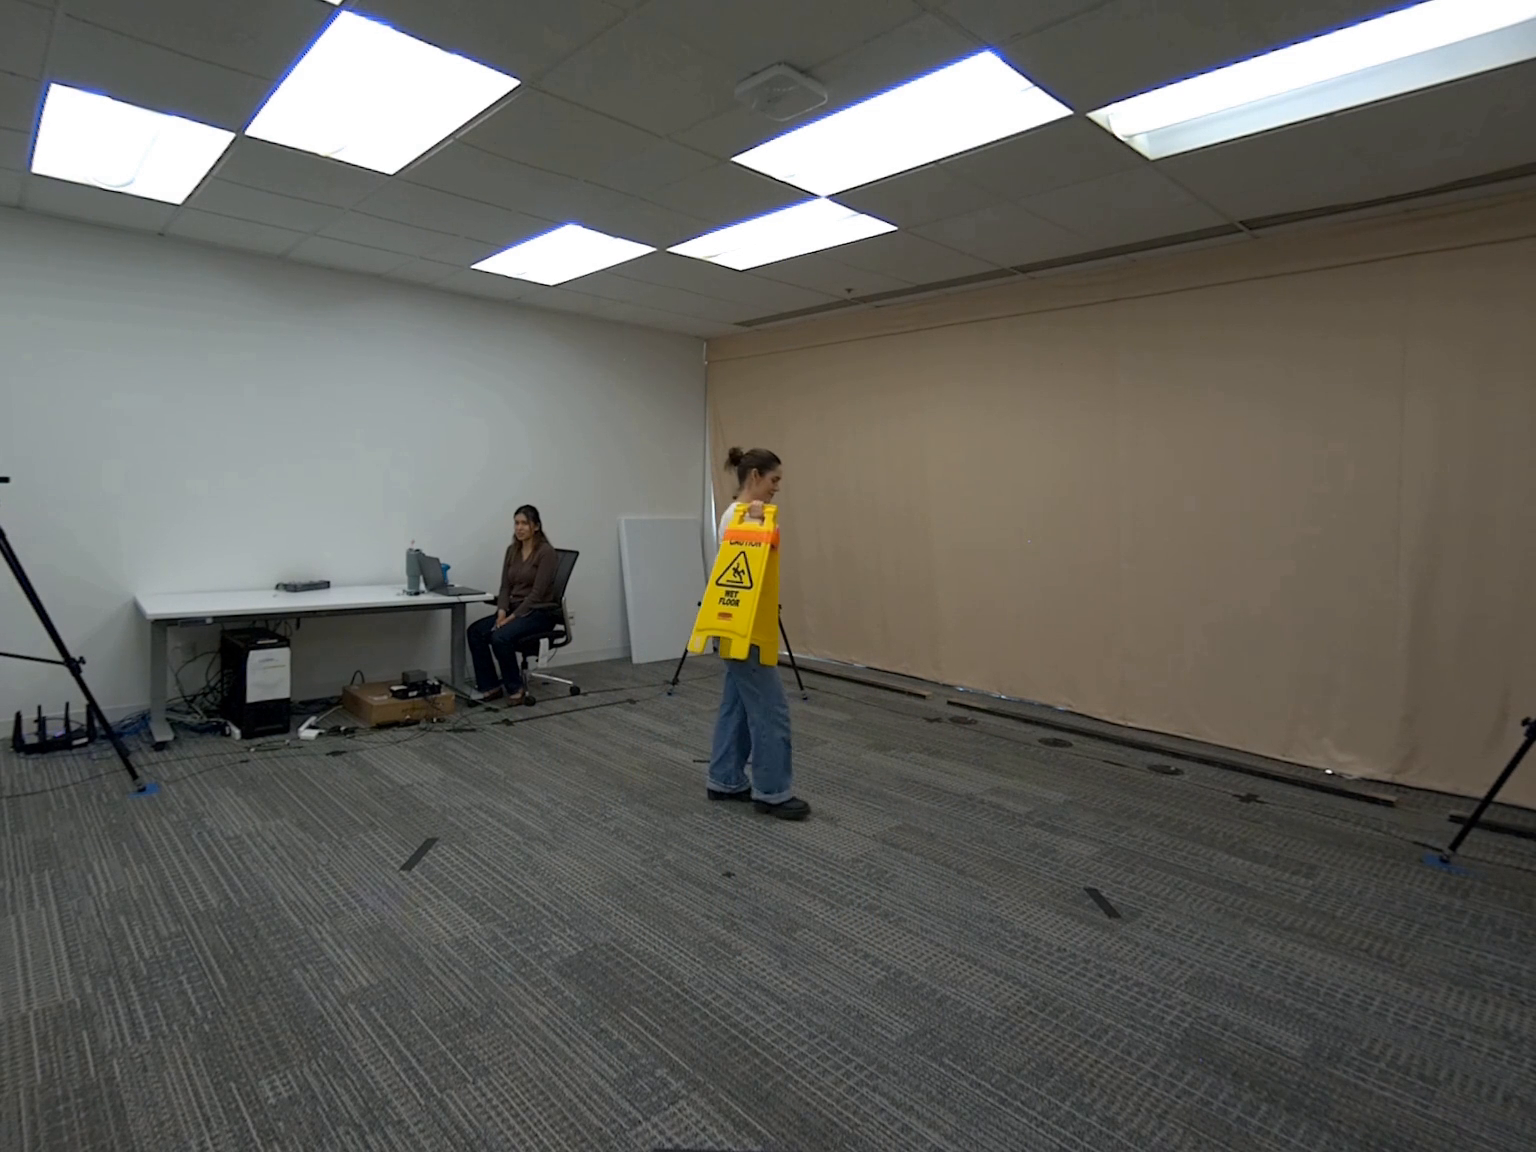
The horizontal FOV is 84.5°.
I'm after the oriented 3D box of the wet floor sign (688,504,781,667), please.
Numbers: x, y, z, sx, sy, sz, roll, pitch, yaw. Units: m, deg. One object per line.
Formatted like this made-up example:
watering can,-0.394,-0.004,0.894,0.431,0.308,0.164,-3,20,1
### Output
wet floor sign,-0.106,0.024,3.475,0.288,0.649,0.282,5,-9,30
